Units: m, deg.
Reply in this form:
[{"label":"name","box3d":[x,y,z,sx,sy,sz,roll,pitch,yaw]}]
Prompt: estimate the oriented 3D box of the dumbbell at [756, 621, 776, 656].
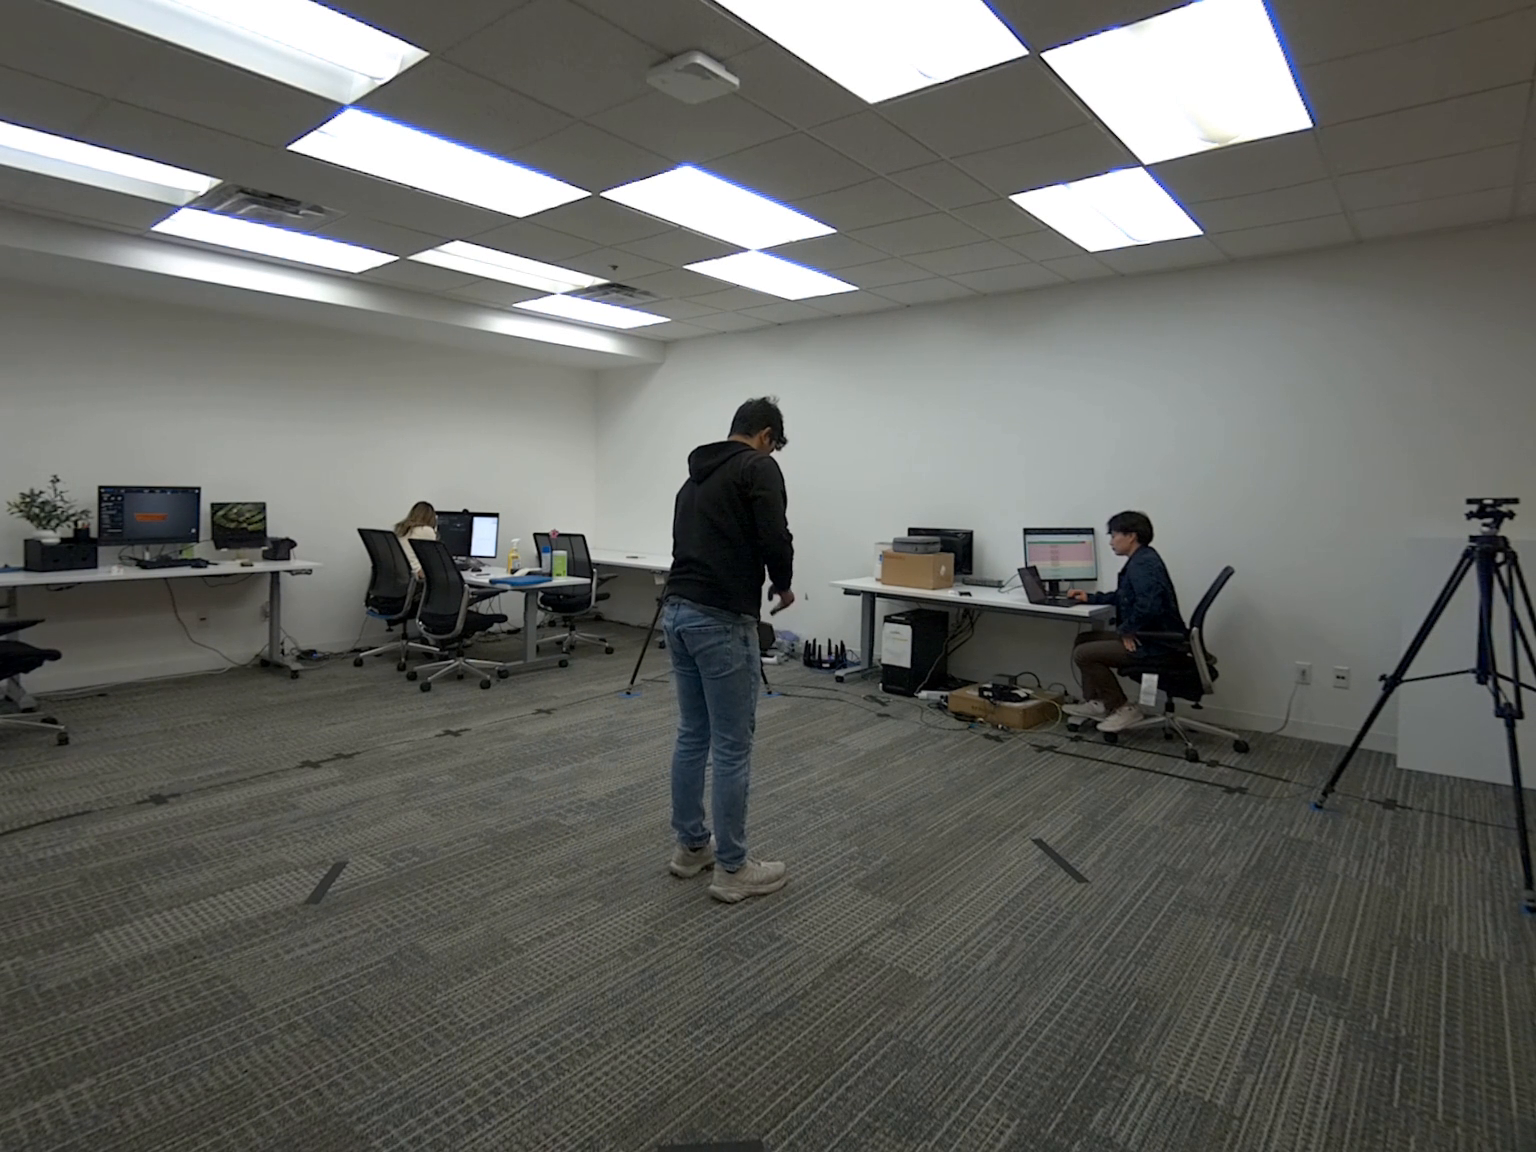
[{"label":"dumbbell","box3d":[-0.092,0.216,3.253,0.119,0.110,0.300,16,-13,-28]}]
